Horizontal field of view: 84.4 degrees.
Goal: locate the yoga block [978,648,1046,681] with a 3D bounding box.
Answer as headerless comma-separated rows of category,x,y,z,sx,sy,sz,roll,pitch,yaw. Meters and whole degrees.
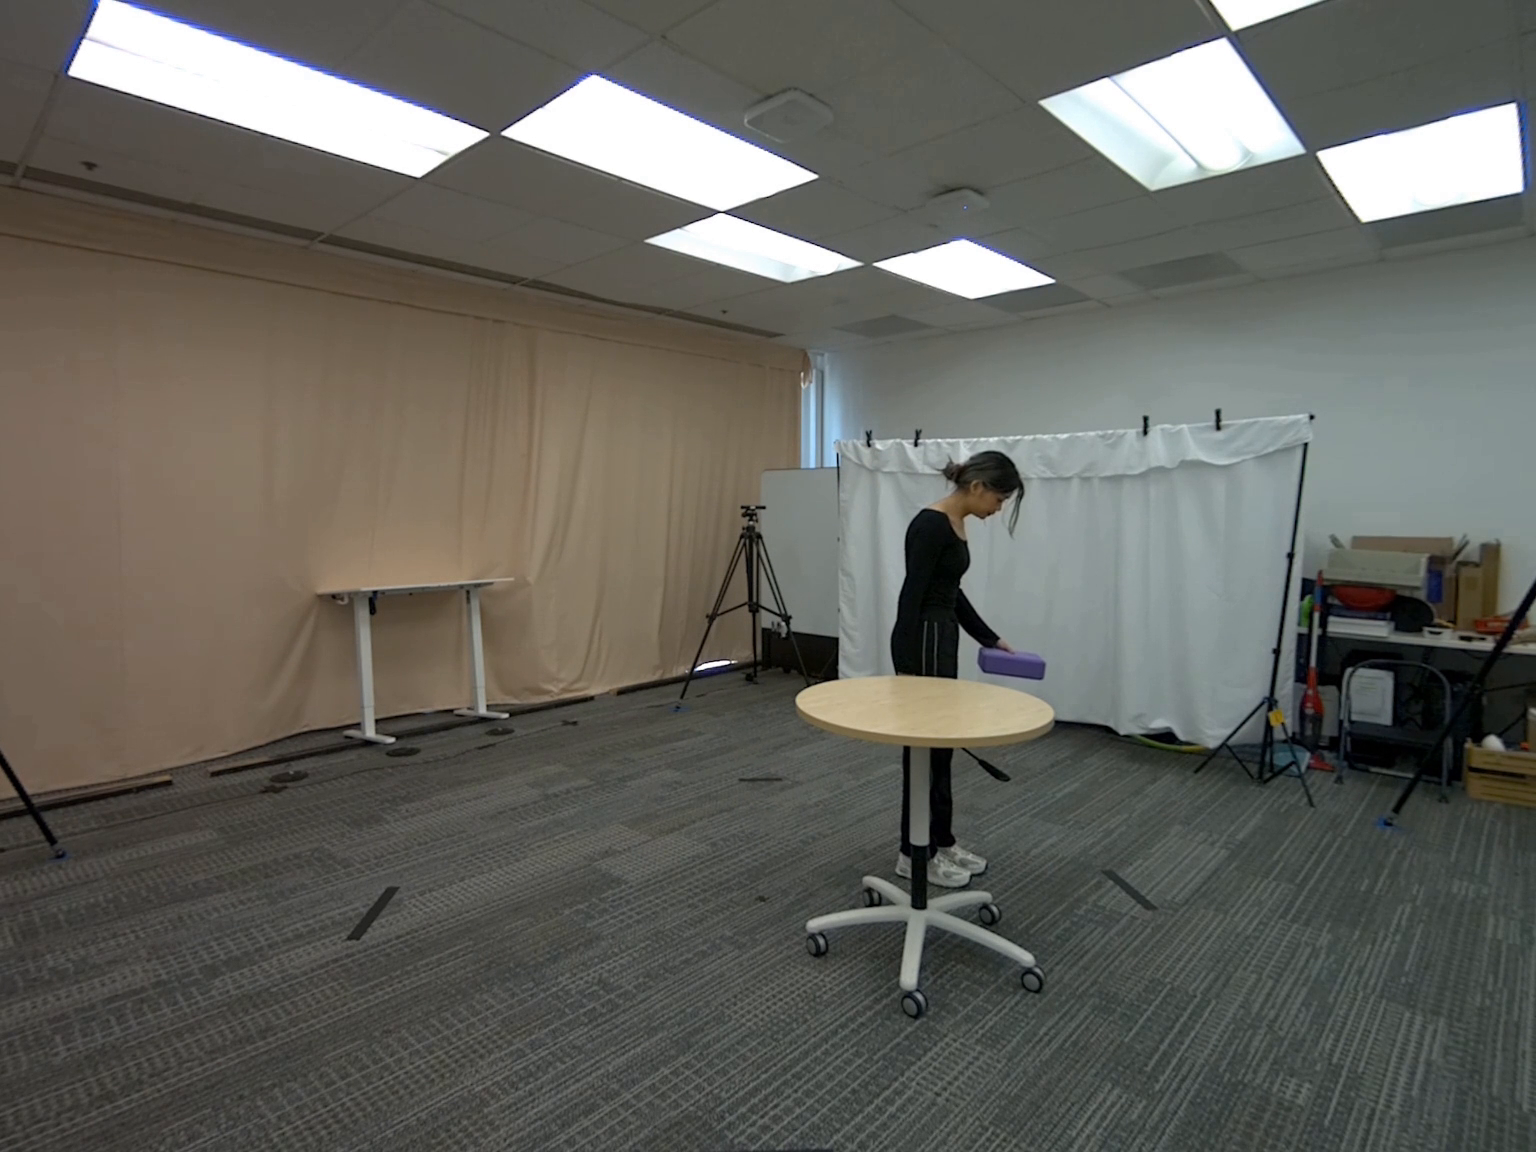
yoga block,0.953,0.342,3.253,0.233,0.076,0.147,6,6,12
